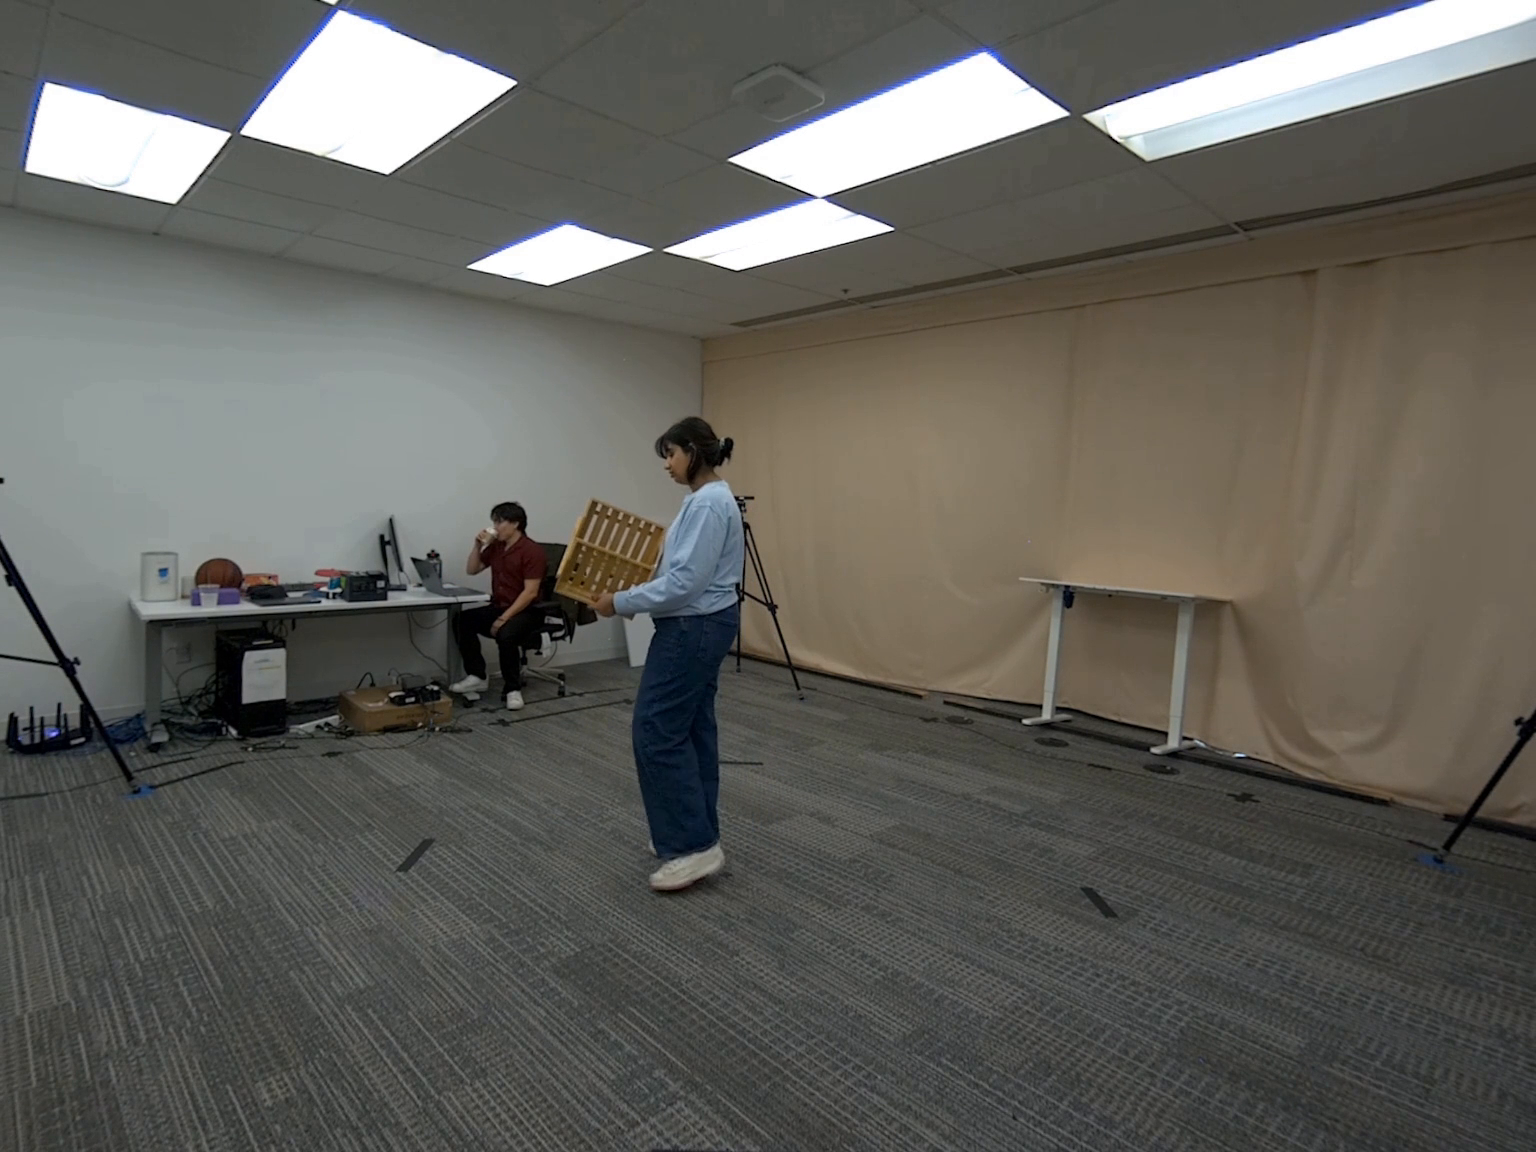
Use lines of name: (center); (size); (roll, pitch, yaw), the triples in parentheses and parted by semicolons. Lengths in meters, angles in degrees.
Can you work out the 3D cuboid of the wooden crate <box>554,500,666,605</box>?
wooden crate: (-0.578, -0.070, 3.080); (0.321, 0.300, 0.278); (21, 24, -10)
